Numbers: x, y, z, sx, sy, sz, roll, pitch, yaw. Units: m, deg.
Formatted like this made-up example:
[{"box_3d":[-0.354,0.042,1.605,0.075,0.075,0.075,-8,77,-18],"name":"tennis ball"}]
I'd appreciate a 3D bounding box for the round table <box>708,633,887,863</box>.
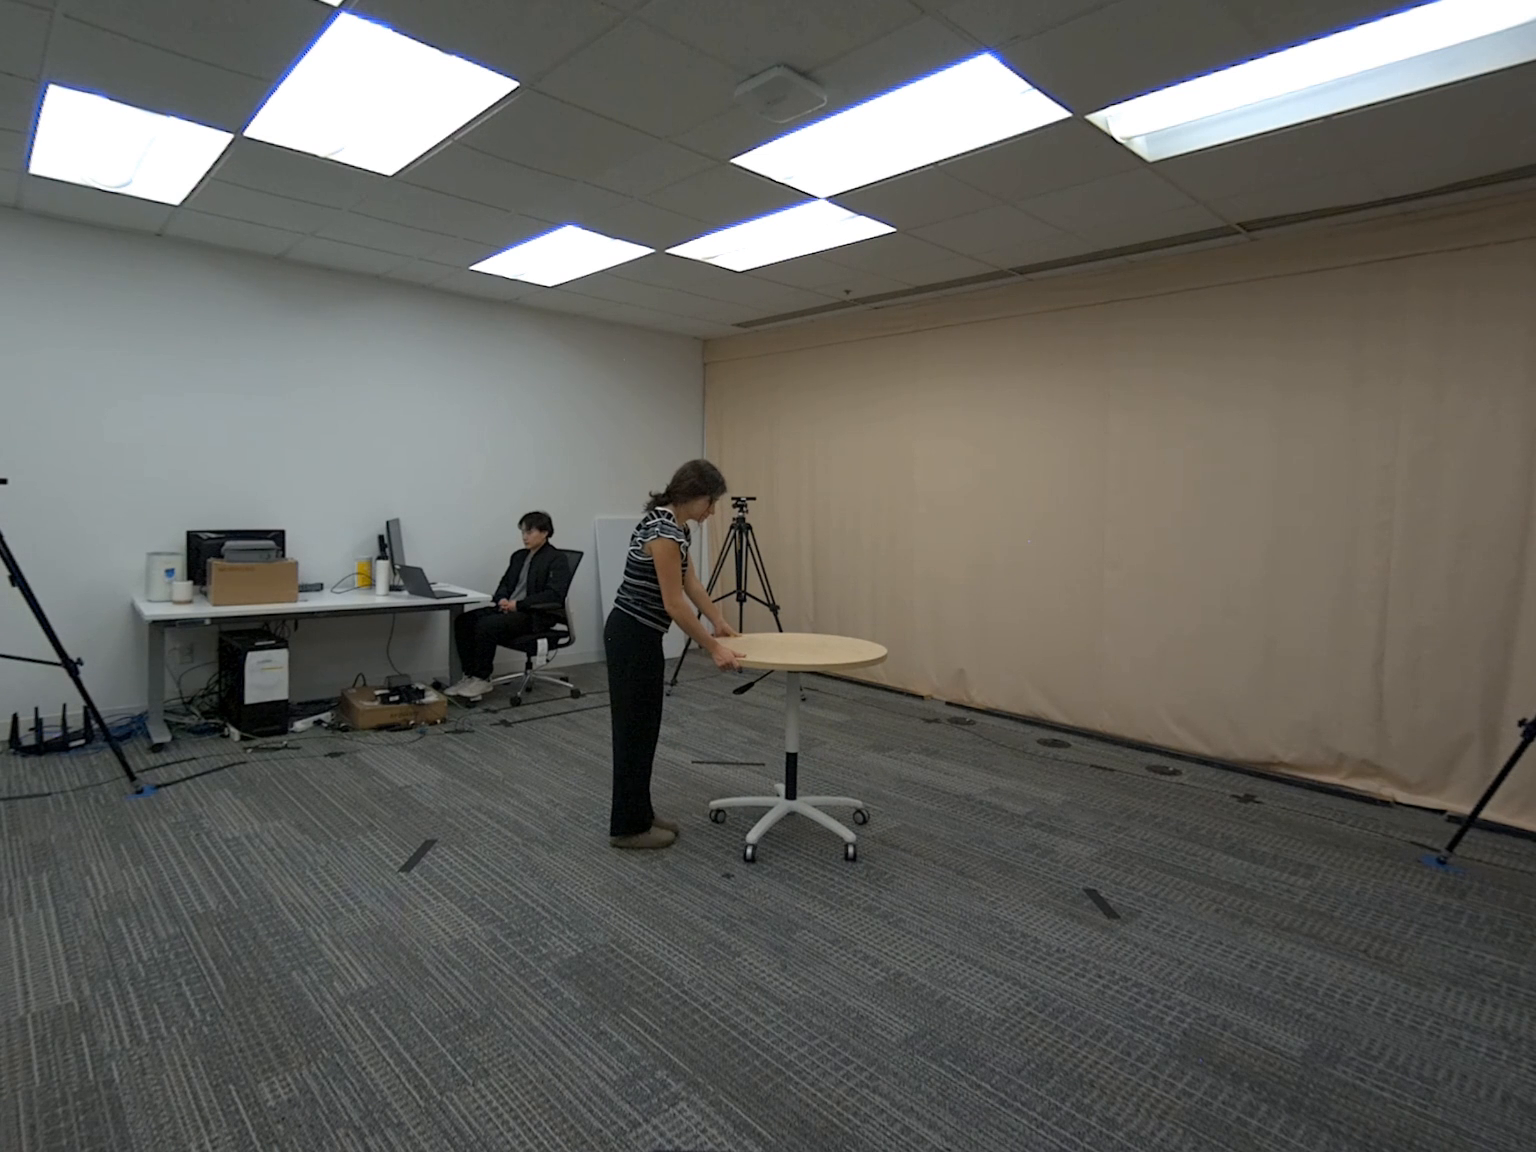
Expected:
[{"box_3d":[0.098,0.689,3.516,0.763,0.792,0.766,1,3,-1],"name":"round table"}]
